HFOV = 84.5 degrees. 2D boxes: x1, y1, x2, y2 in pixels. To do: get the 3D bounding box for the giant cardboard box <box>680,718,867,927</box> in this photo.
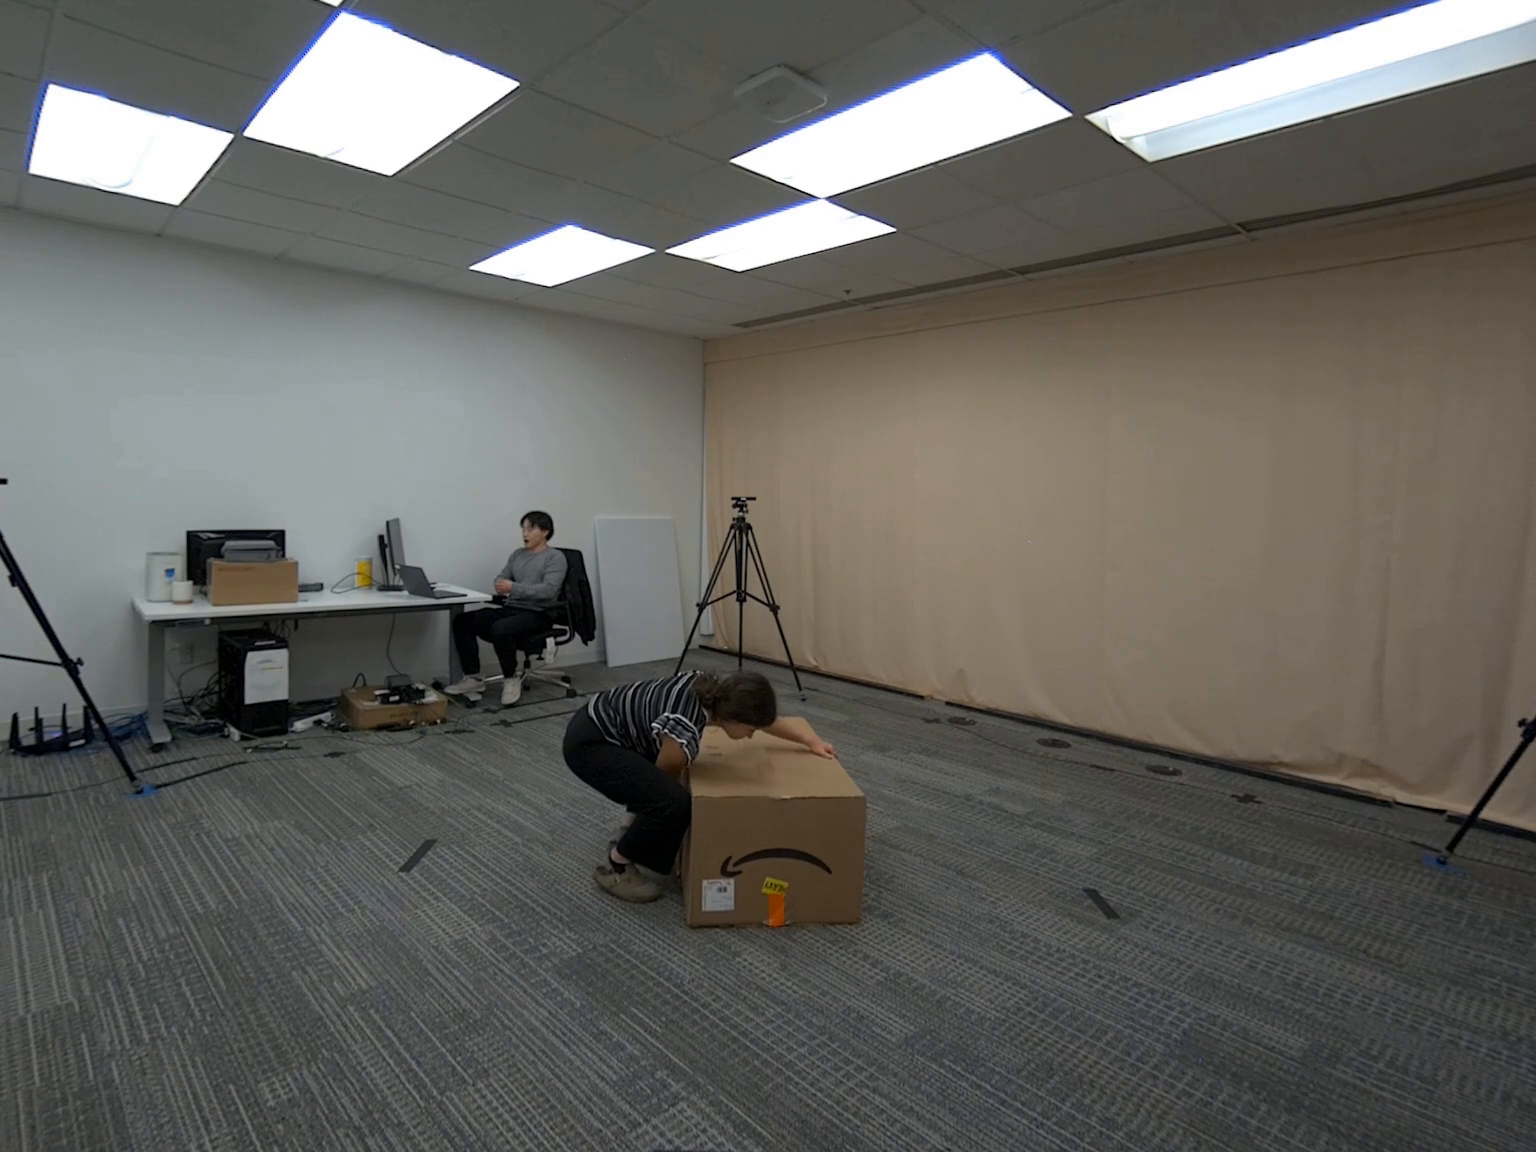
[{"bbox_3d":[-0.053,0.880,3.234,0.574,0.425,1.034,1,4,-8],"label":"giant cardboard box"}]
